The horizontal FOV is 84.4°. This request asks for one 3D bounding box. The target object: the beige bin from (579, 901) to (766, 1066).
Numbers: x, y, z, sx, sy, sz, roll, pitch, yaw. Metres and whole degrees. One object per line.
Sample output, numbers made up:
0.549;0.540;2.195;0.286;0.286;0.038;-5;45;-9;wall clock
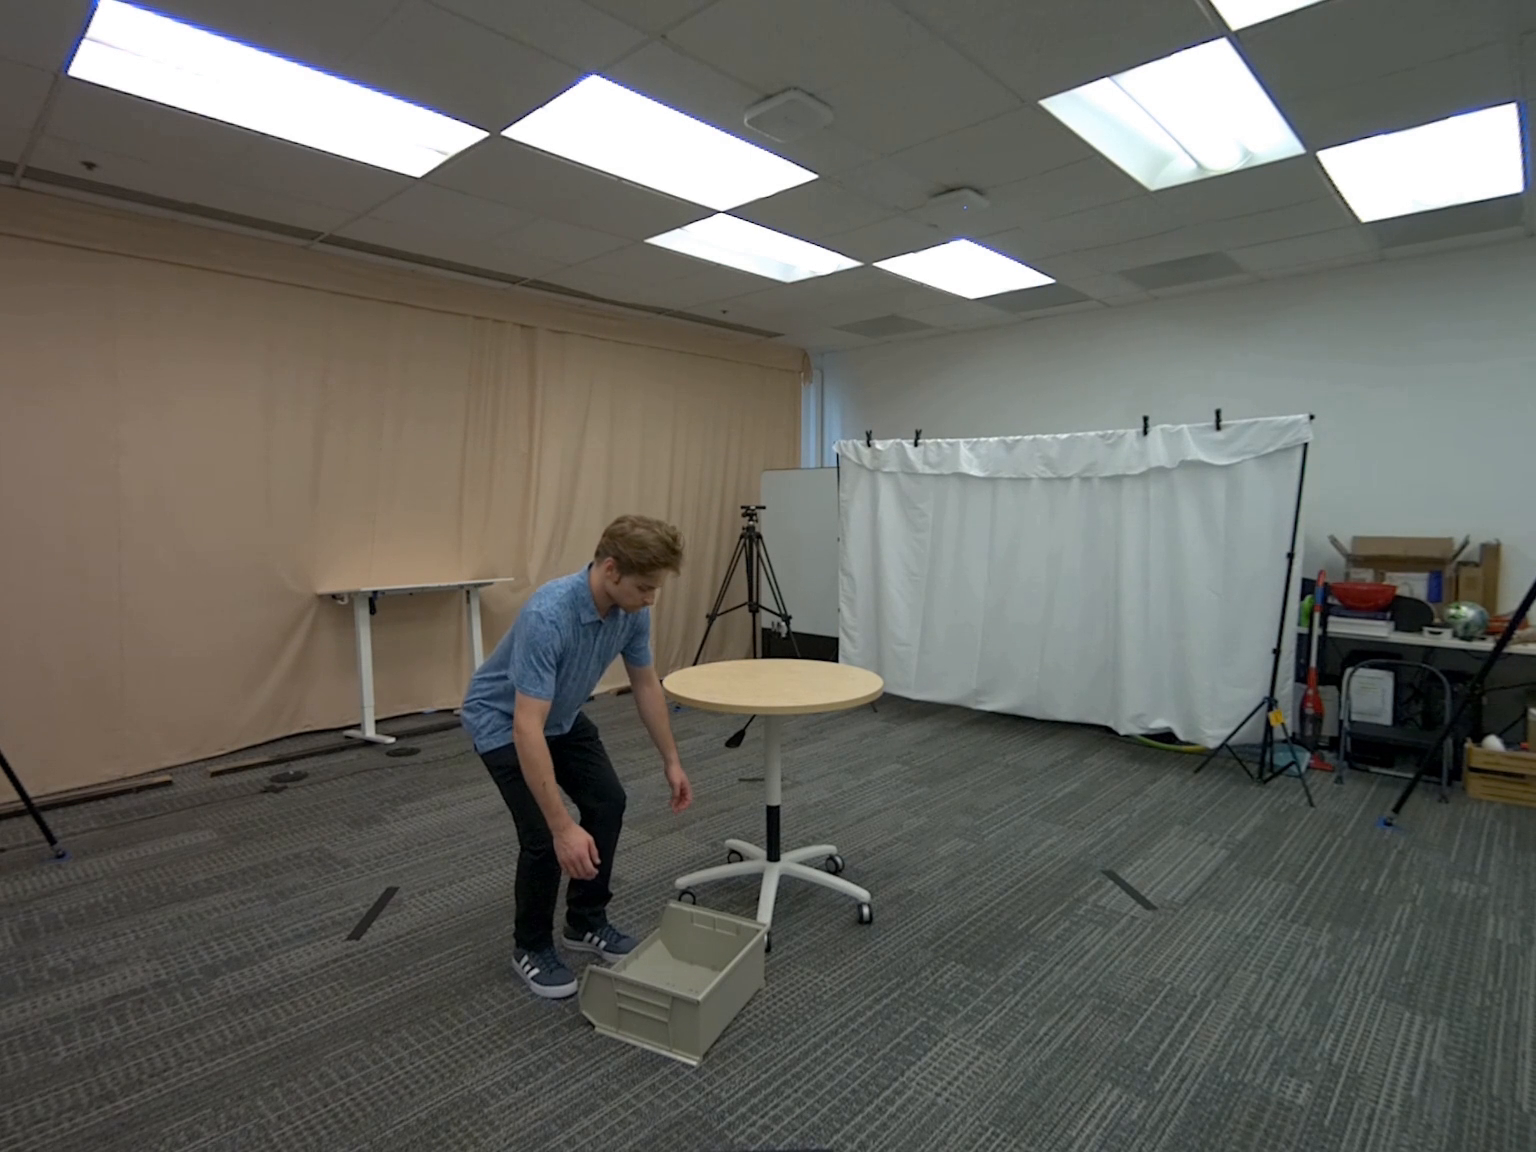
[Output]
-0.250;1.112;2.343;0.387;0.188;0.412;3;5;26;beige bin
